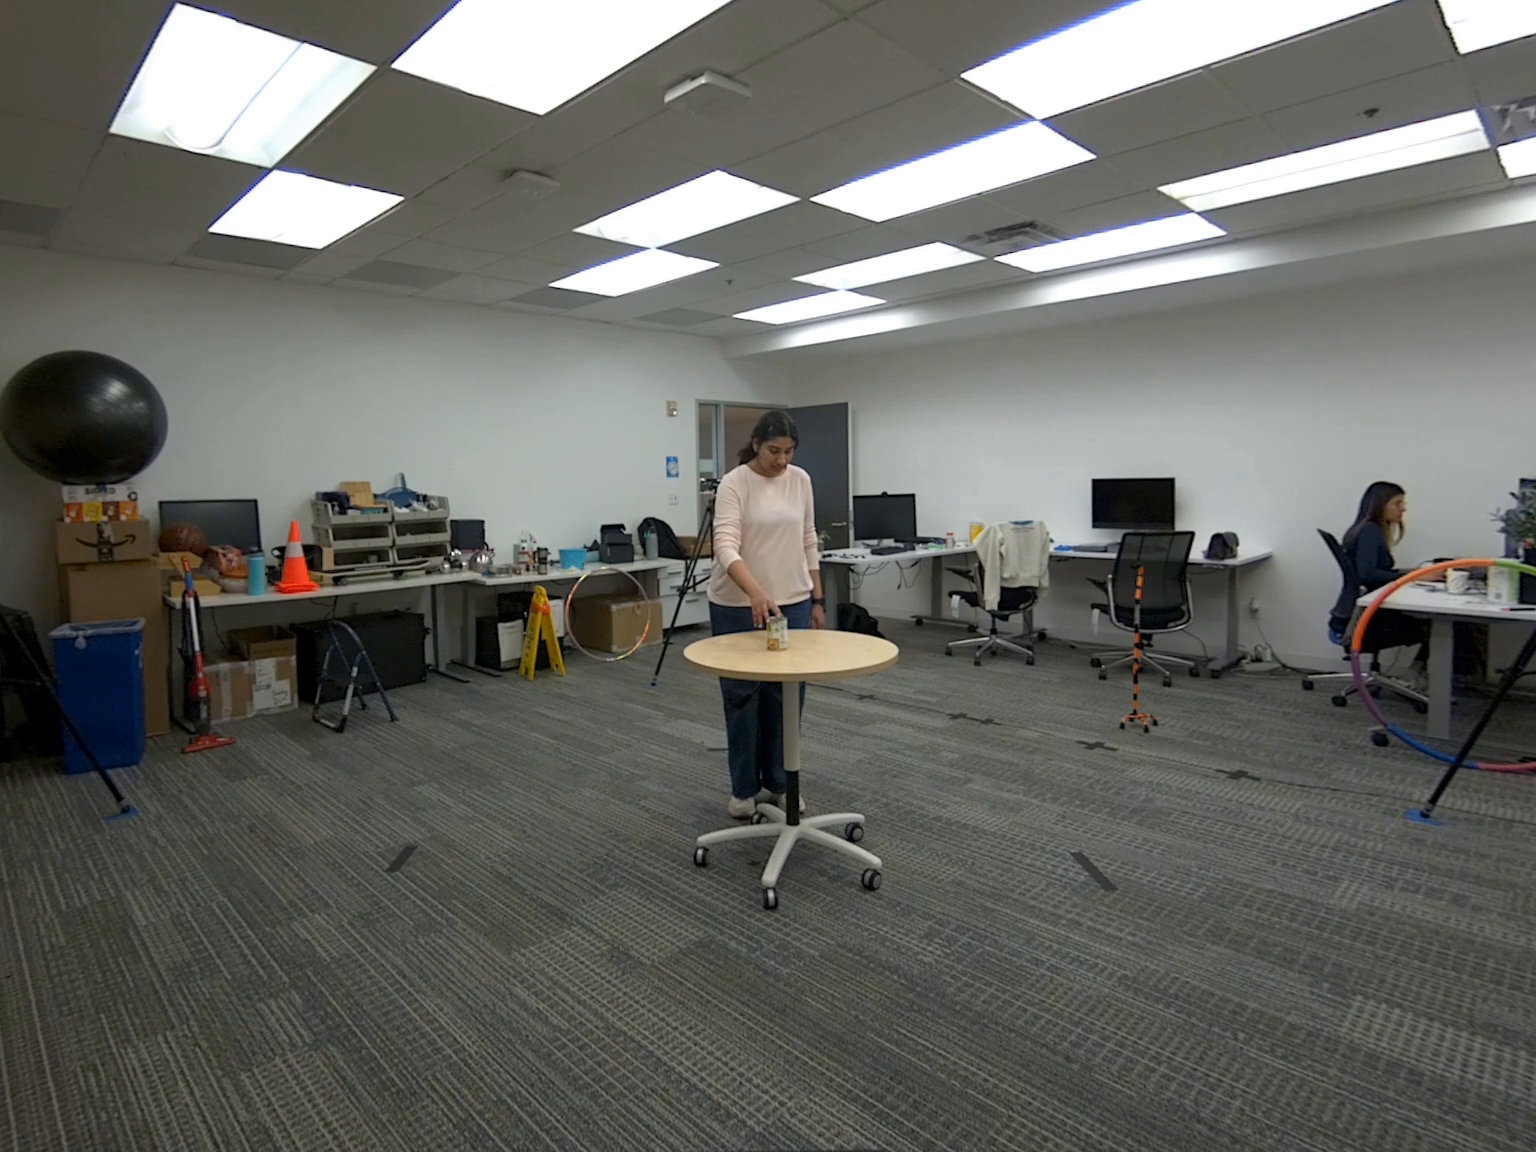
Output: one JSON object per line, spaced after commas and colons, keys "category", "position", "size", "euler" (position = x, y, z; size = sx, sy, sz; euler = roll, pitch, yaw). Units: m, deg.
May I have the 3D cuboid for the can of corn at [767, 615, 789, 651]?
{"category": "can of corn", "position": [0.029, 0.208, 3.068], "size": [0.074, 0.110, 0.074], "euler": [-3, 5, -1]}
